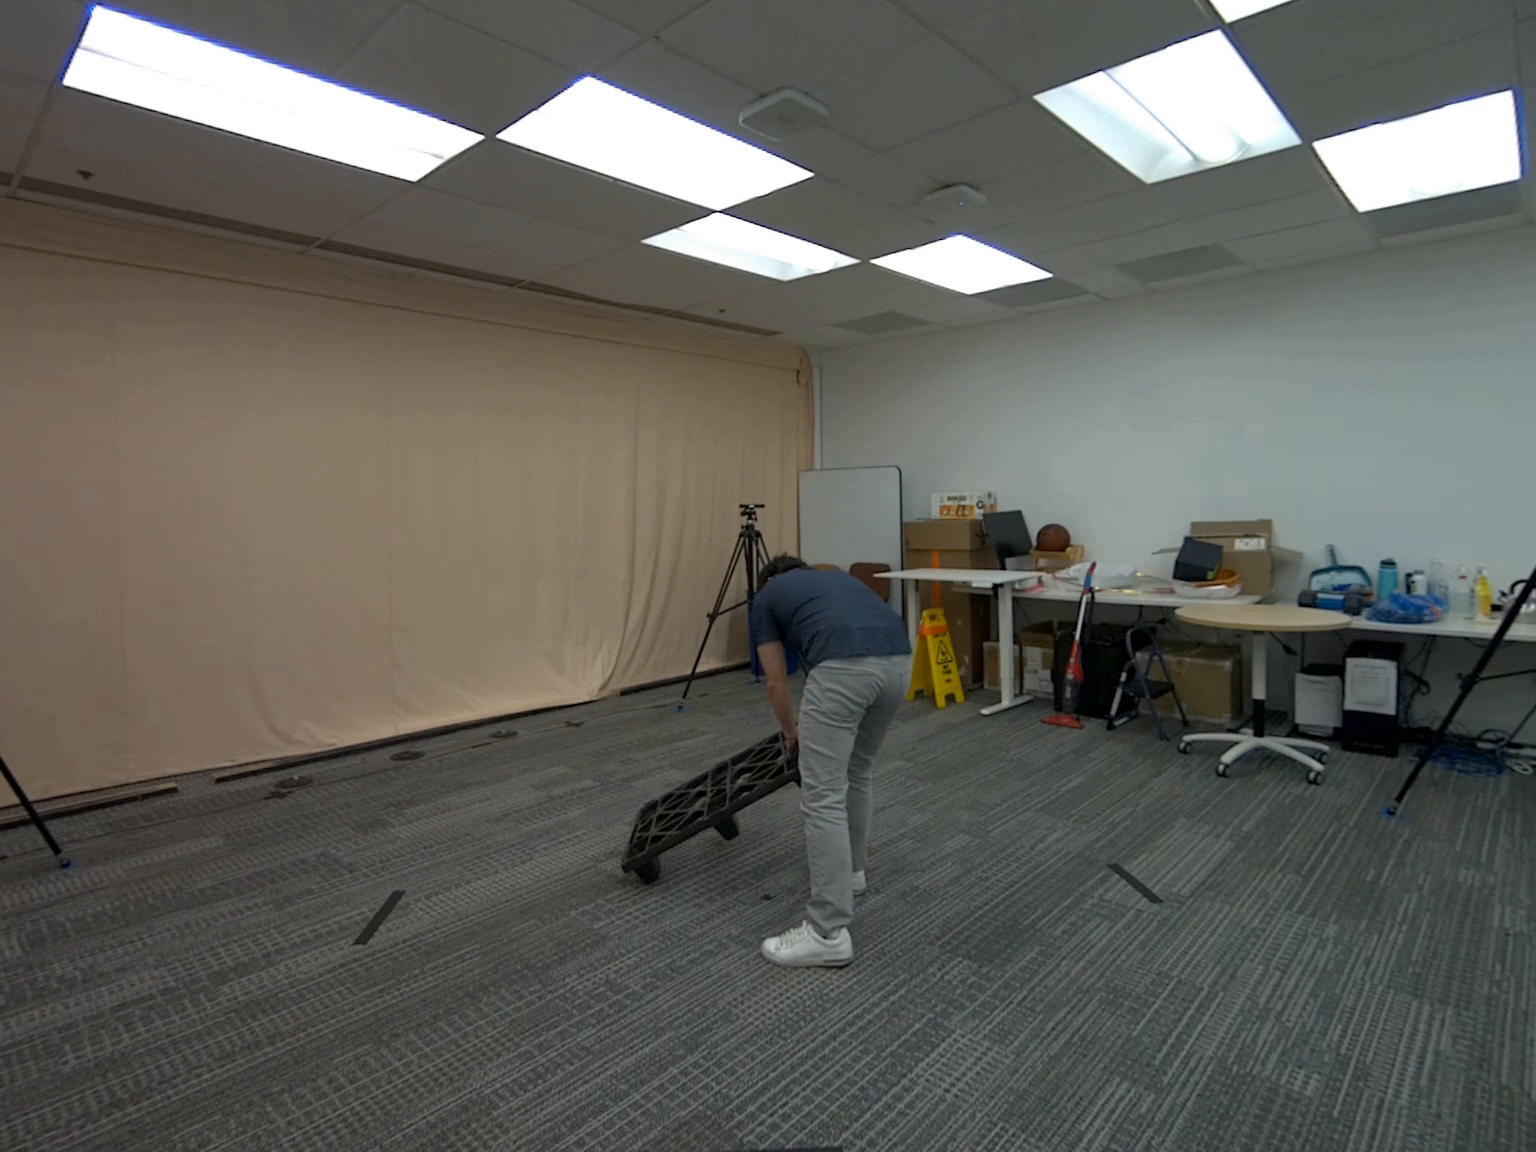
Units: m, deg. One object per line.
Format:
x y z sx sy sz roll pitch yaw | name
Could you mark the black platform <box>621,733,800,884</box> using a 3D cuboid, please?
-0.156 0.879 3.306 0.807 0.143 0.606 -30 5 2 | black platform
